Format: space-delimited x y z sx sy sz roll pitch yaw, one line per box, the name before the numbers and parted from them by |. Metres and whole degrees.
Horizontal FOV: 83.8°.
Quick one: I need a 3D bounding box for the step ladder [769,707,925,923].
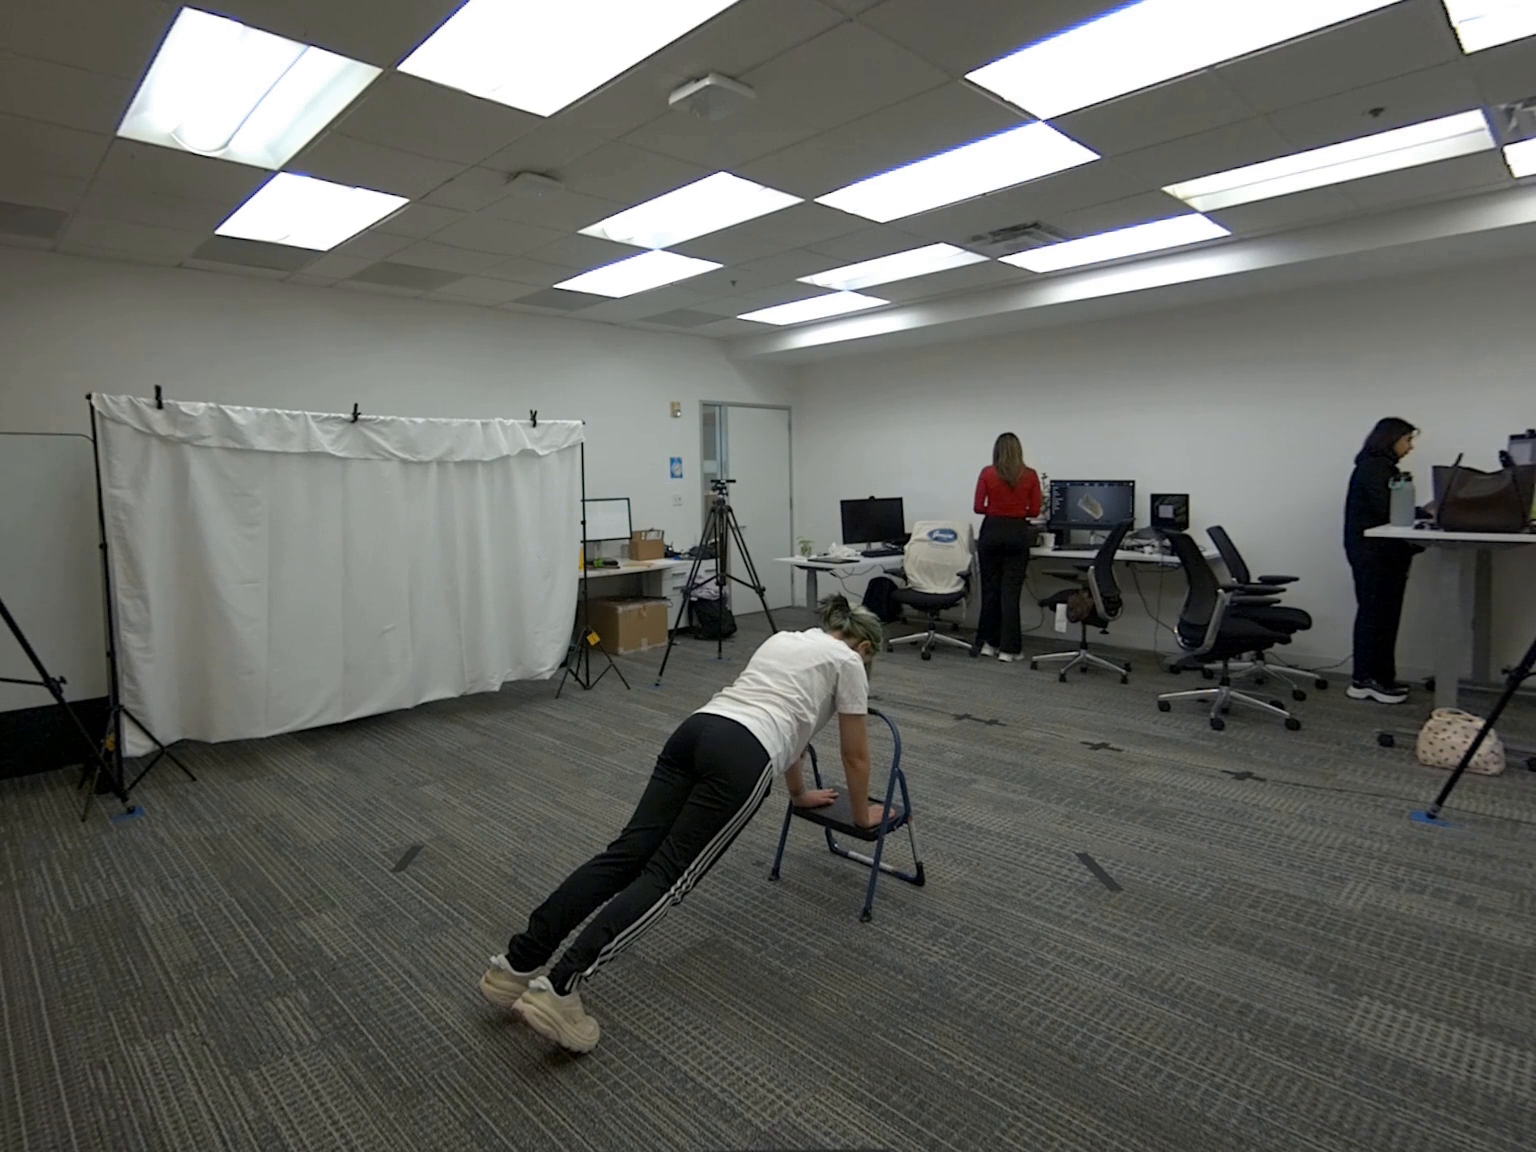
step ladder | 0.272 0.758 2.939 0.444 0.604 0.340 4 6 45
